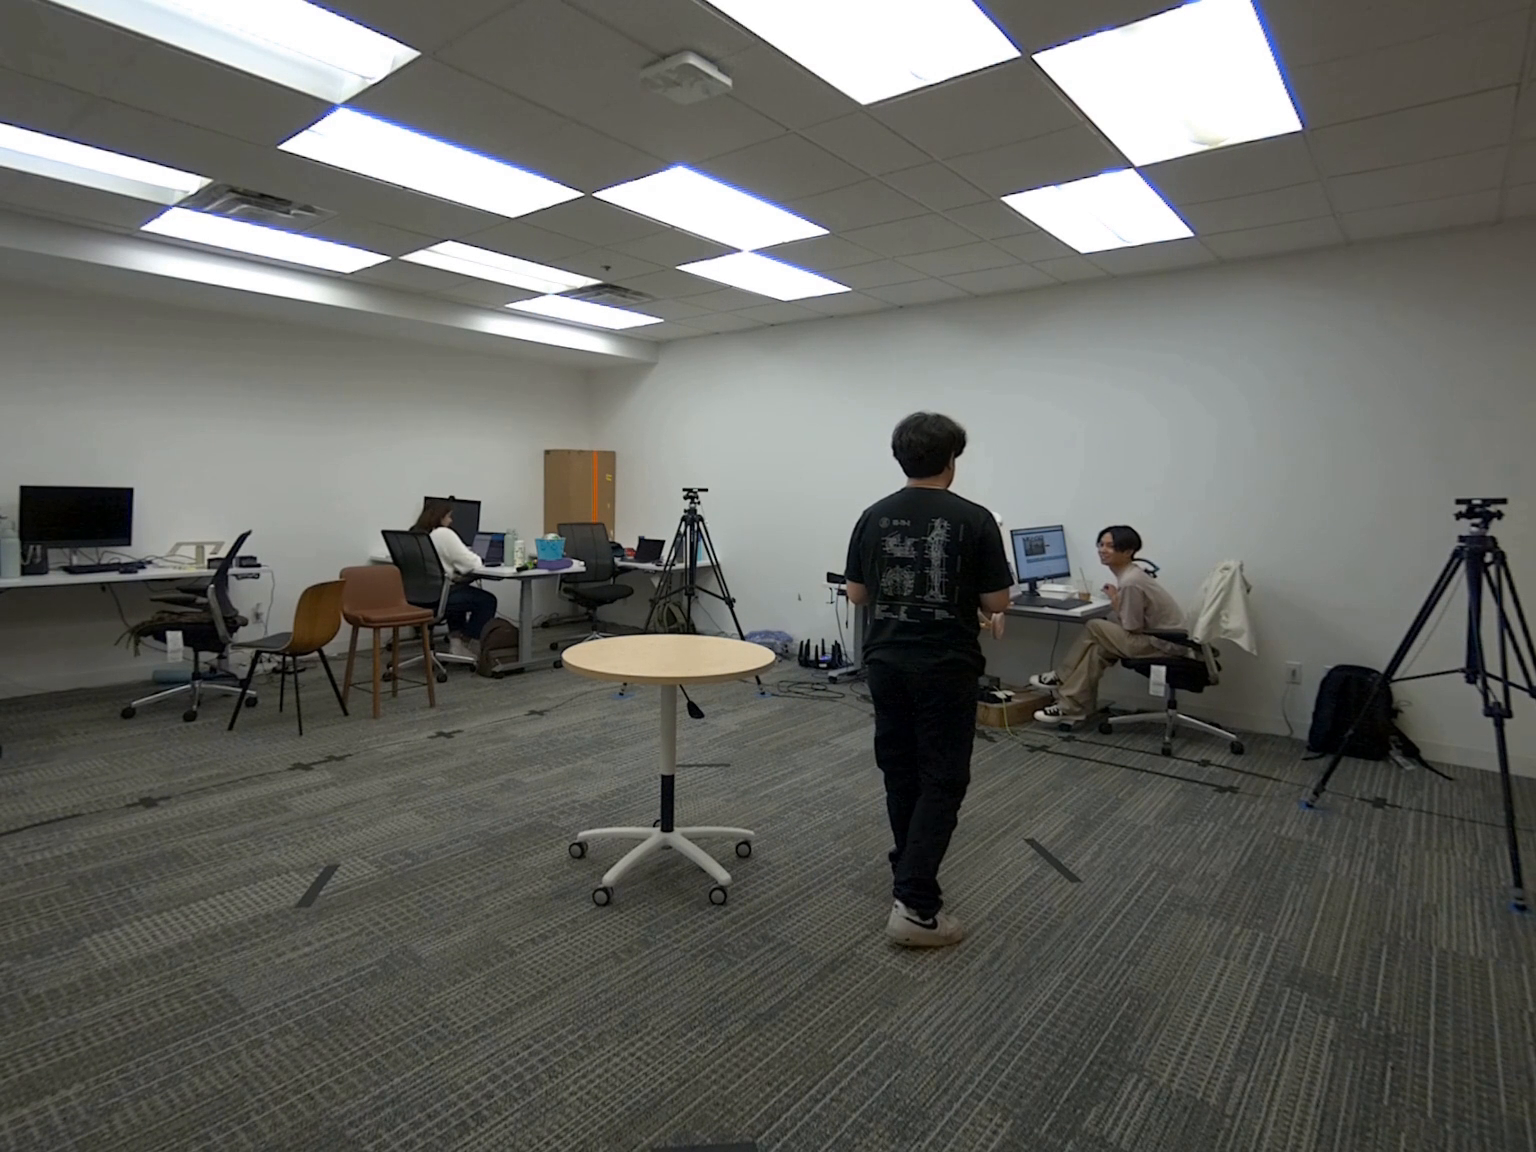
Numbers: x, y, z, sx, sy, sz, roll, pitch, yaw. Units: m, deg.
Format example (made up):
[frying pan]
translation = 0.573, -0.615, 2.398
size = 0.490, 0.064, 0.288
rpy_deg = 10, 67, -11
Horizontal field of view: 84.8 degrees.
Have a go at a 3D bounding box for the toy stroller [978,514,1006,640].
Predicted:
[toy stroller]
translation = 0.677, 0.007, 3.109
size = 0.291, 0.537, 0.329
rpy_deg = 4, -4, 38
